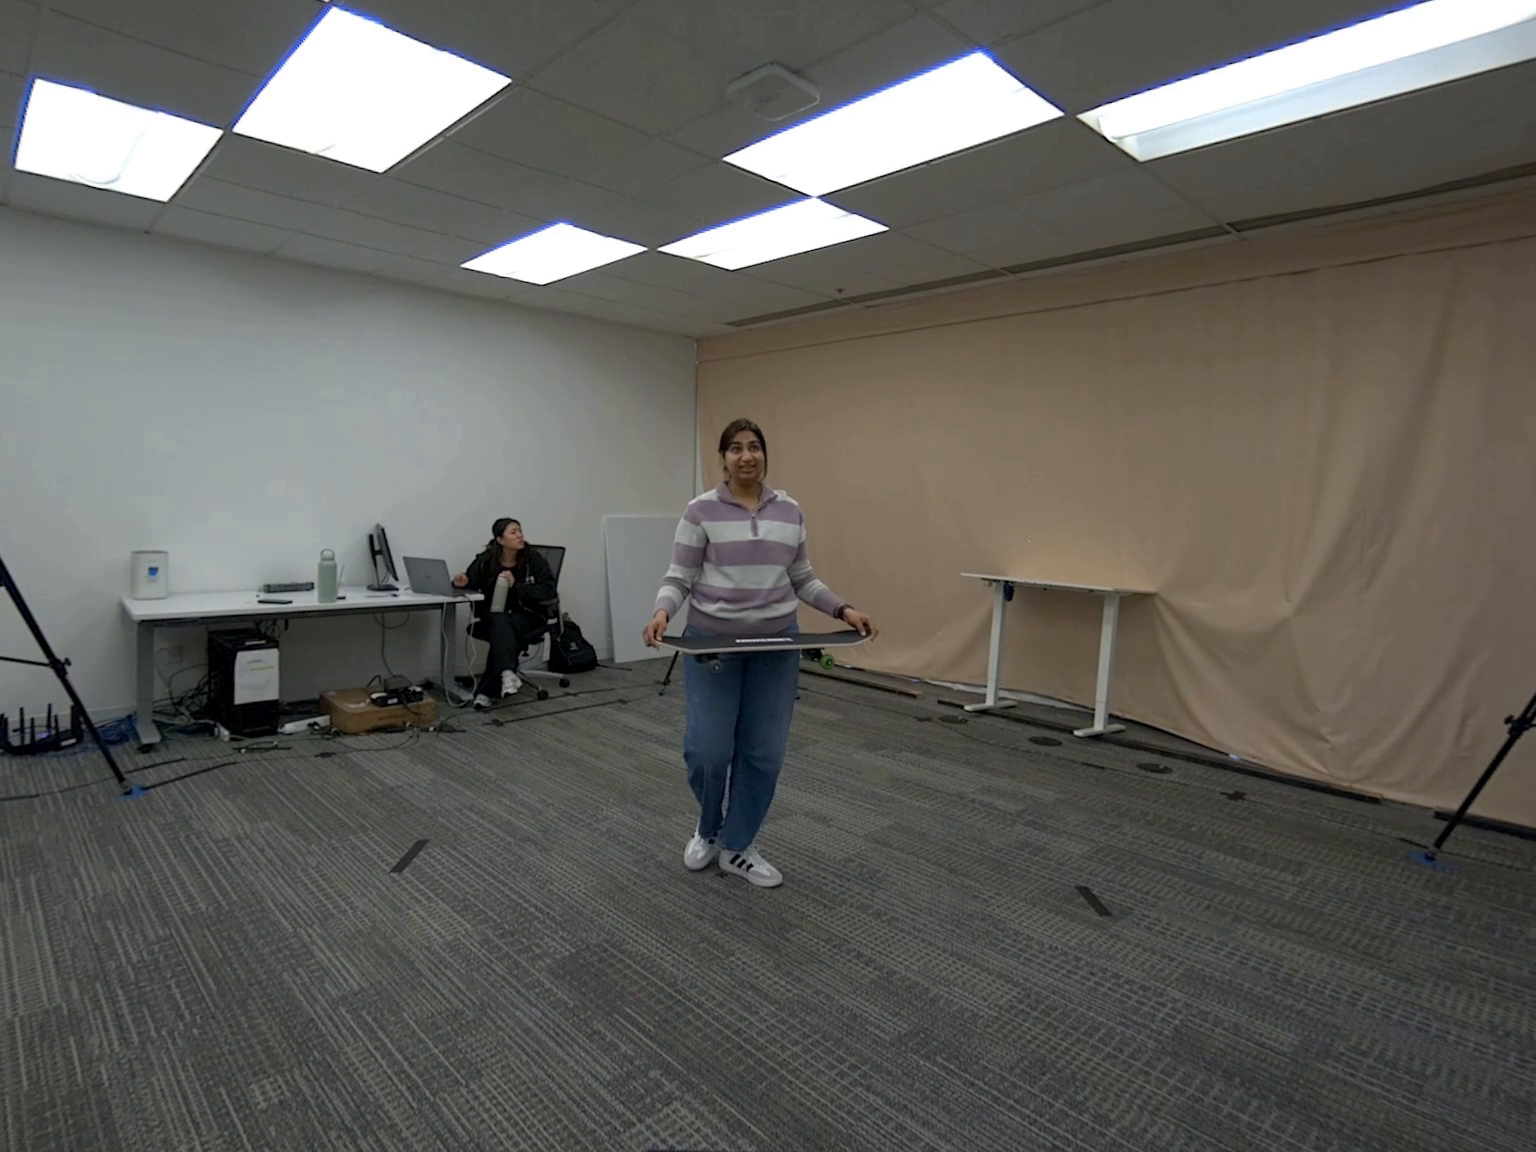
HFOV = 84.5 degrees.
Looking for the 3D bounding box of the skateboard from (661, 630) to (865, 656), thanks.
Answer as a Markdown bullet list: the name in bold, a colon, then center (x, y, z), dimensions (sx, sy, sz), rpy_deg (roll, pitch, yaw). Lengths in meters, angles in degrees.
- **skateboard**: center (-0.019, 0.253, 2.829), dimensions (0.774, 0.109, 0.197), rpy_deg (-2, 10, -20)
